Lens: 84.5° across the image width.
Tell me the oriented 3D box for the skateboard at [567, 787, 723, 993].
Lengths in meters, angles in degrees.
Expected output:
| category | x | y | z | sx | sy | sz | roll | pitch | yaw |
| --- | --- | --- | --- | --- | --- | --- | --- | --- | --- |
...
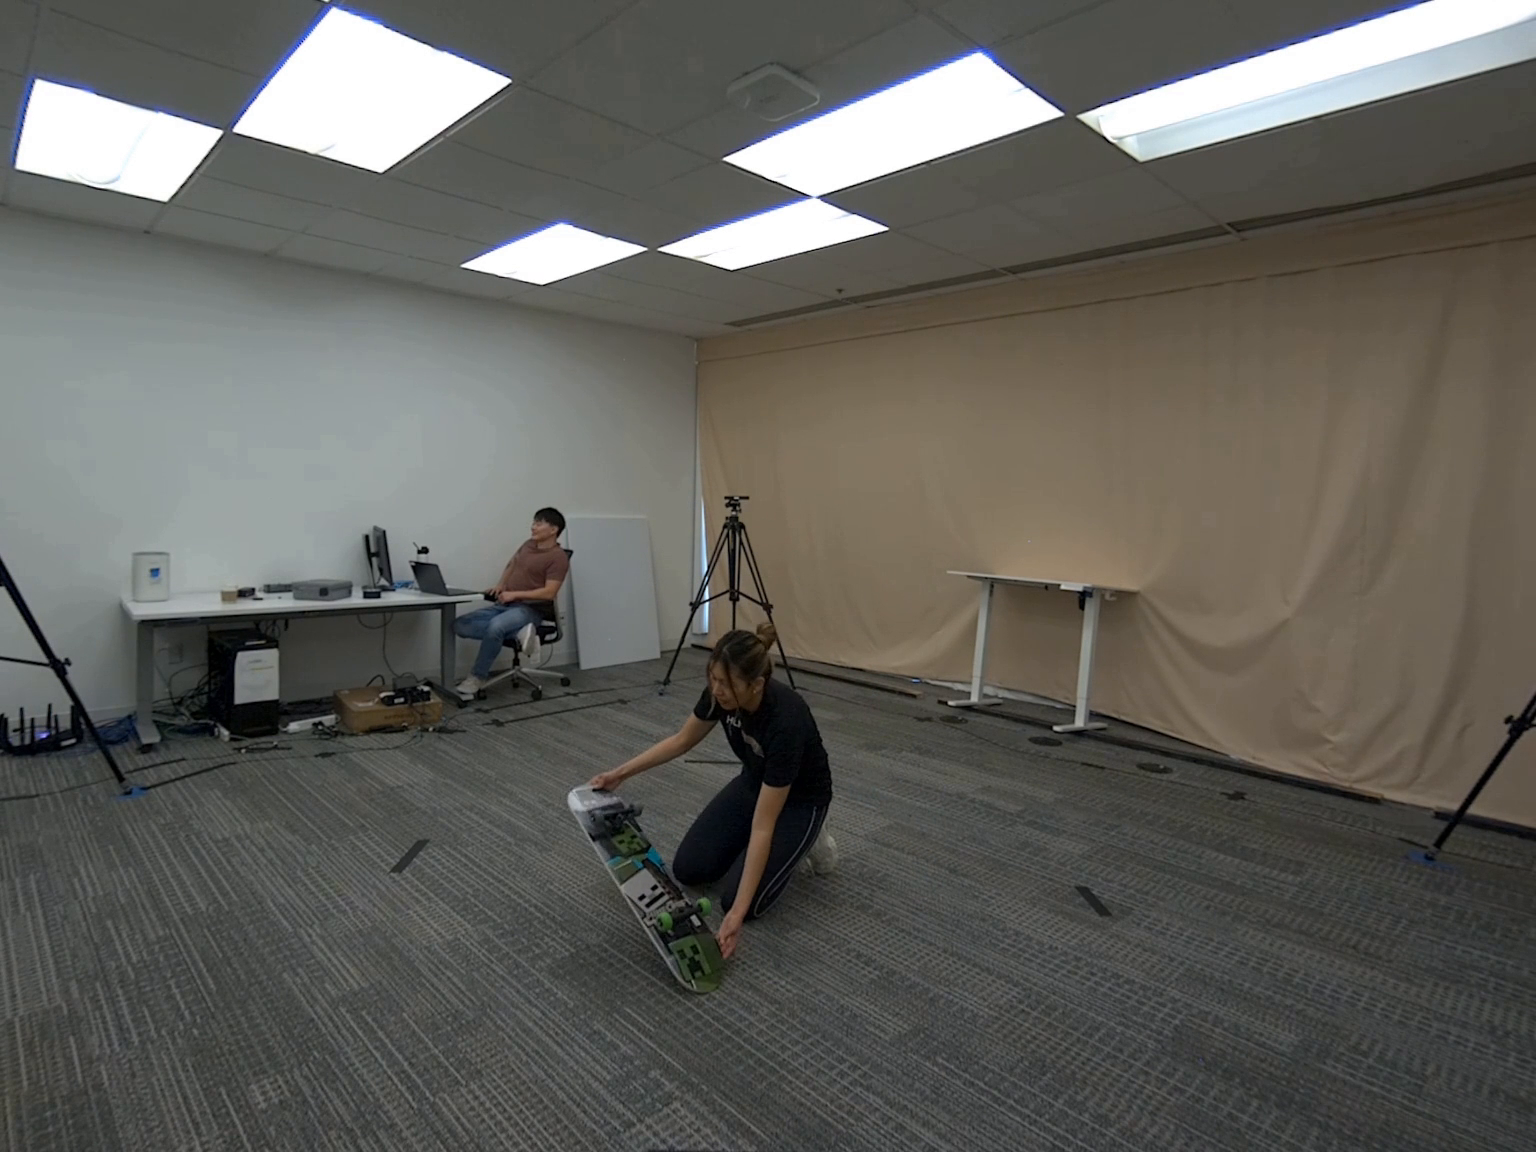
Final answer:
| category | x | y | z | sx | sy | sz | roll | pitch | yaw |
| --- | --- | --- | --- | --- | --- | --- | --- | --- | --- |
| skateboard | -0.385 | 0.912 | 2.586 | 0.189 | 0.109 | 0.810 | -2 | 35 | -43 |
